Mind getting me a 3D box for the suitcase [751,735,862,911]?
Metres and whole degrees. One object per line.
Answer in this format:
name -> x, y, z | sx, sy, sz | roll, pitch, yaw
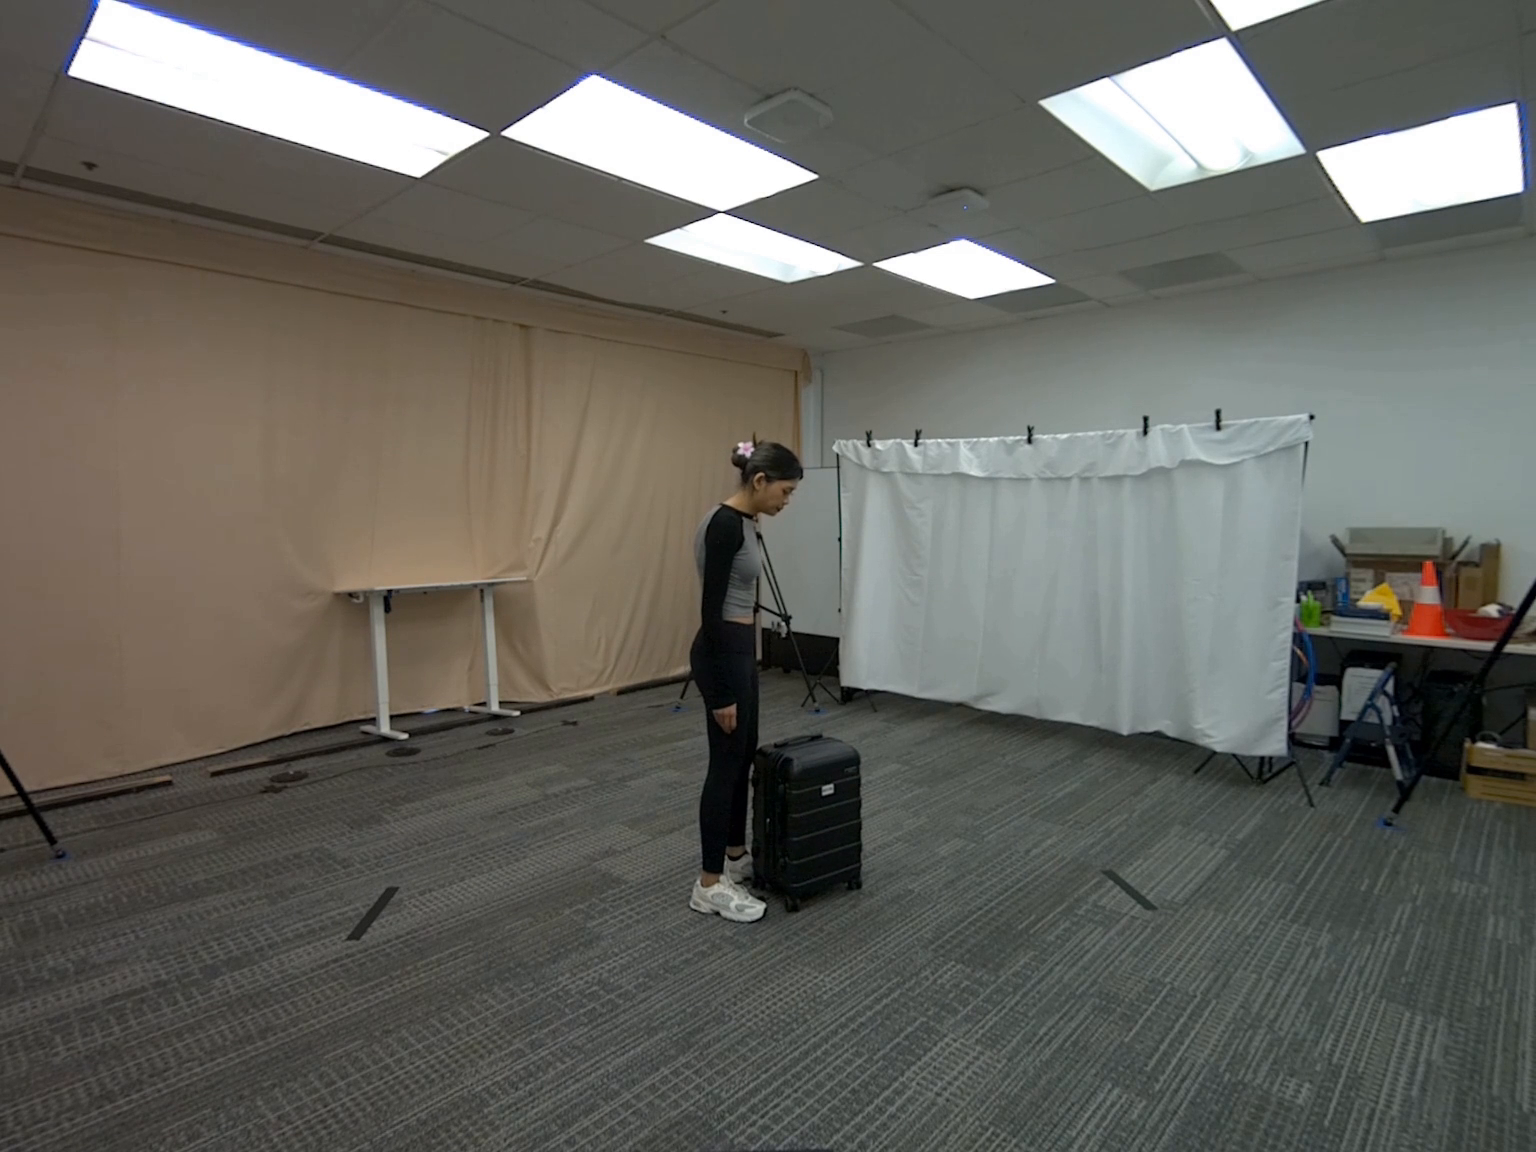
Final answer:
suitcase -> 0.151, 0.864, 3.033 | 0.364, 0.548, 0.256 | -2, 6, -35
